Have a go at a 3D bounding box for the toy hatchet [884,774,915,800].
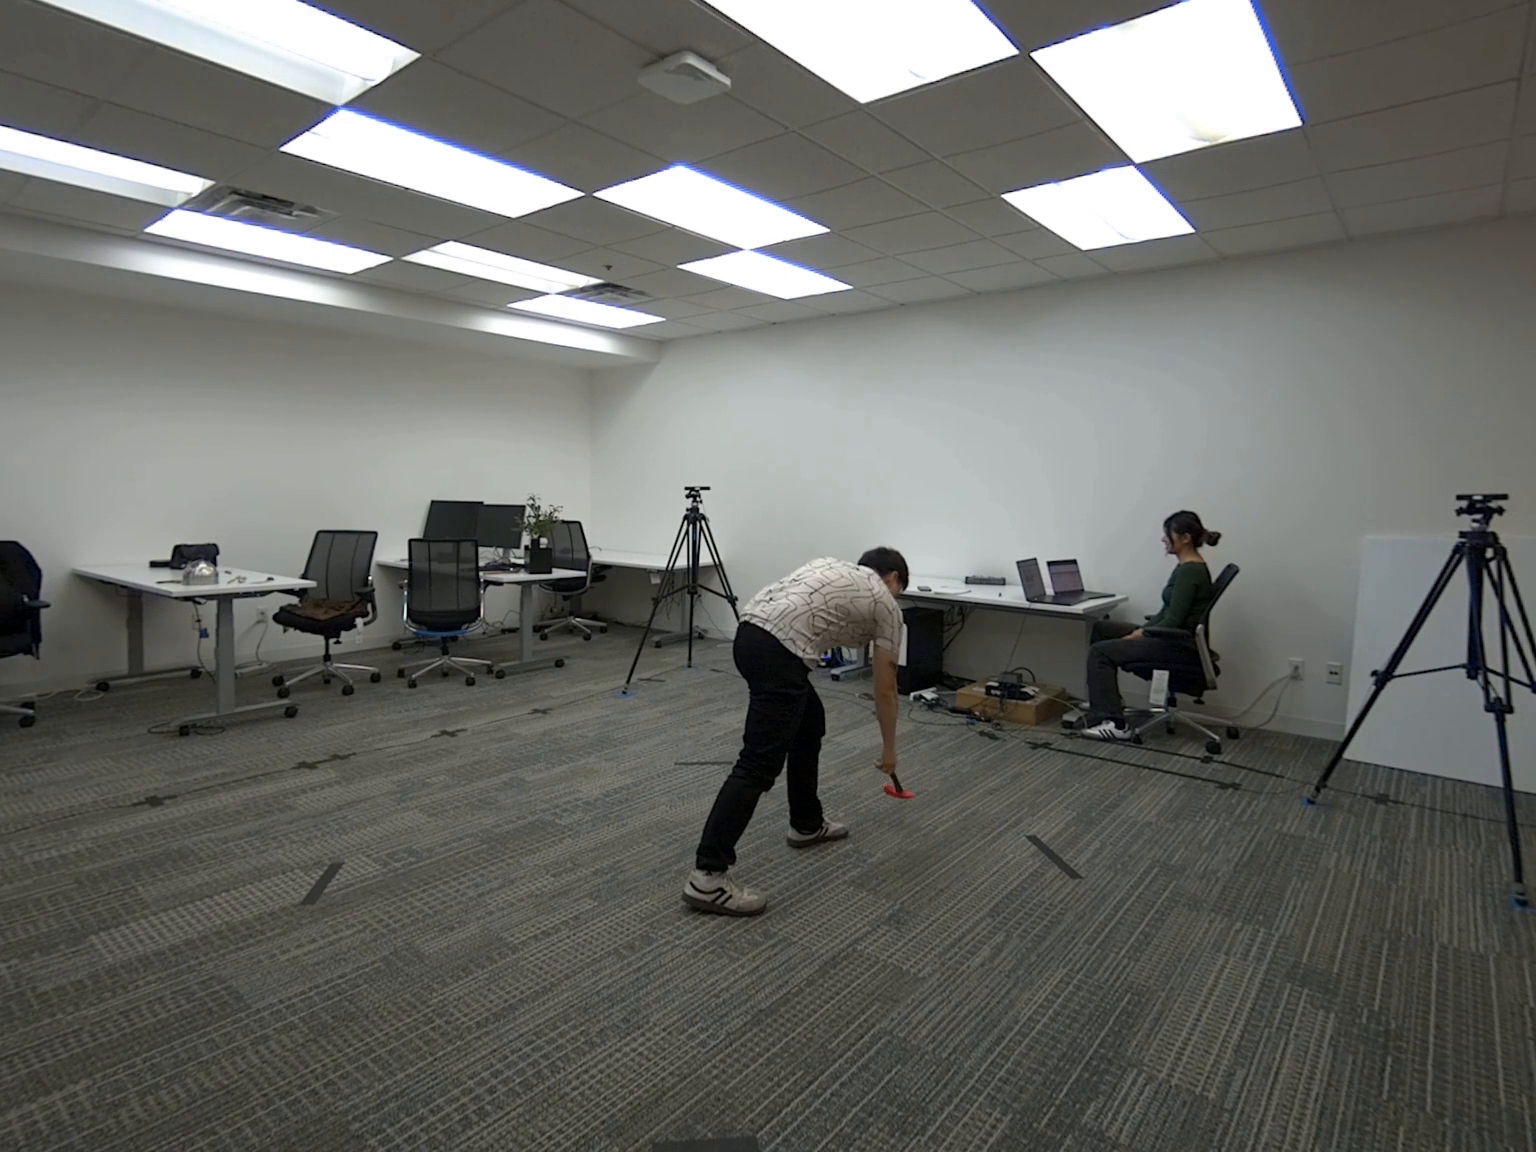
[{"bbox_3d":[0.484,0.807,3.483,0.134,0.263,0.030,-19,26,43],"label":"toy hatchet"}]
